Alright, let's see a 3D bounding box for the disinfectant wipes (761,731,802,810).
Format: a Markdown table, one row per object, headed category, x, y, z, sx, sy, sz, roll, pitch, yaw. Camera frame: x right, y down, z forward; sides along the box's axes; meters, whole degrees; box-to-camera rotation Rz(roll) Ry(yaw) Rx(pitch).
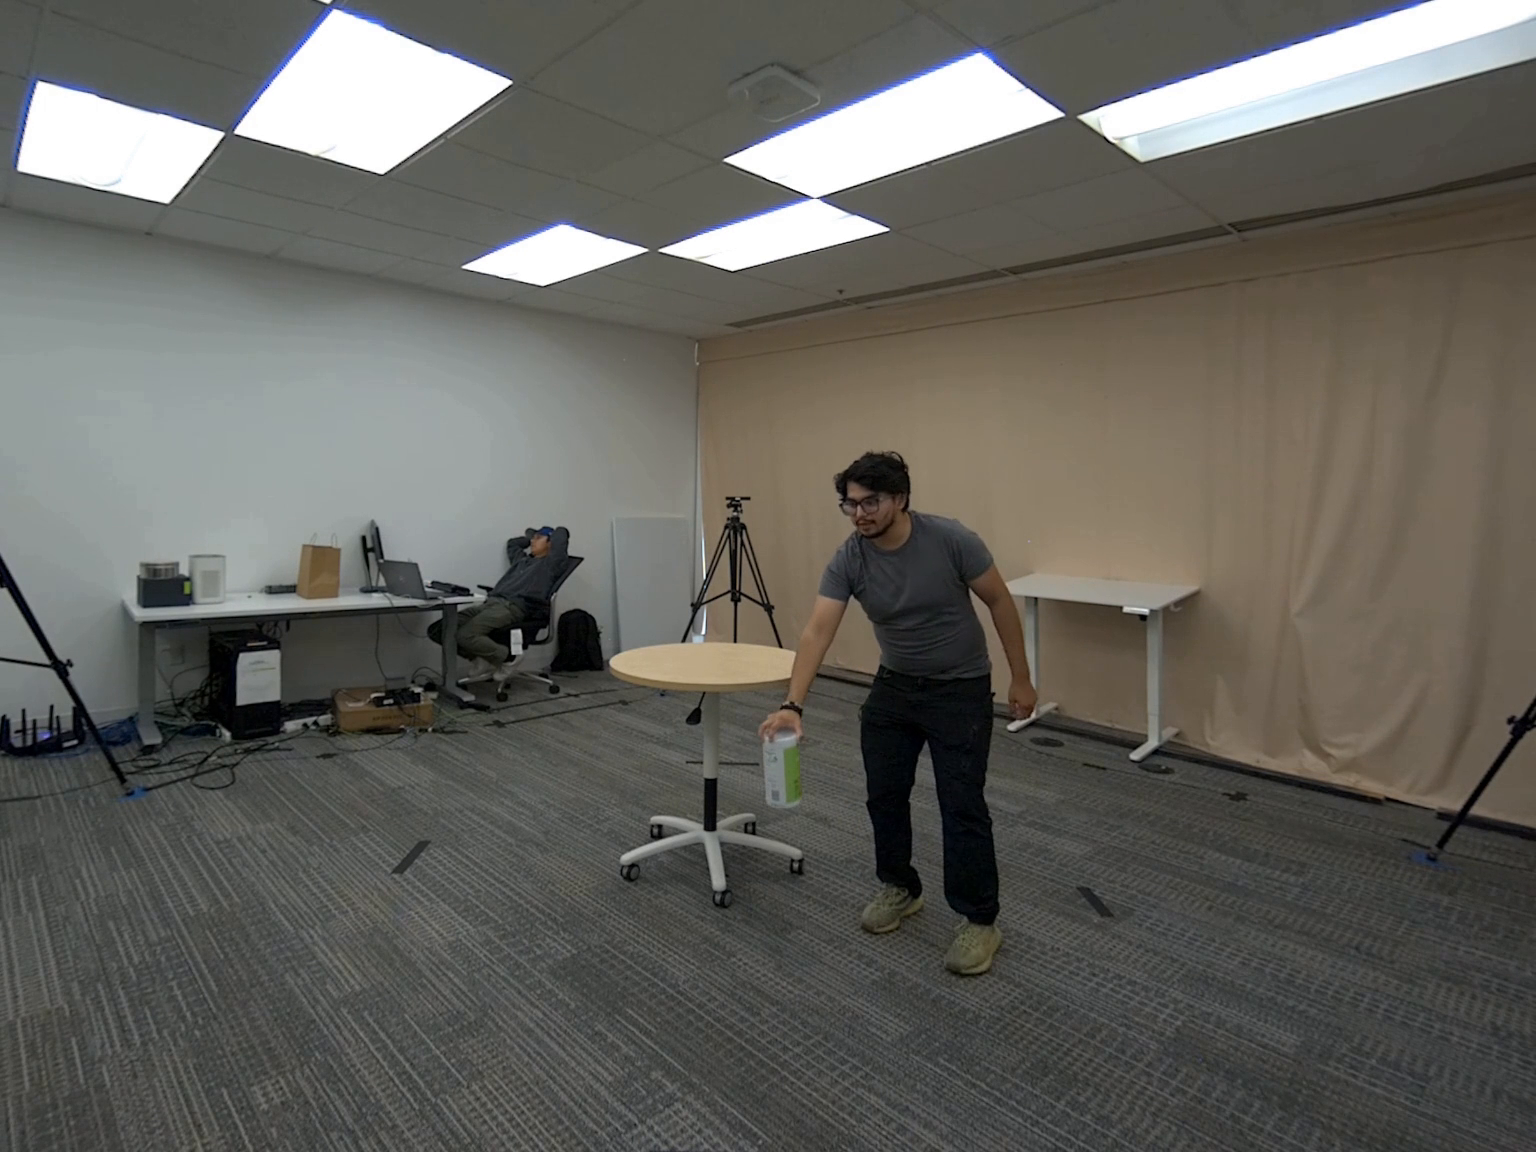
| category | x | y | z | sx | sy | sz | roll | pitch | yaw |
| --- | --- | --- | --- | --- | --- | --- | --- | --- | --- |
| disinfectant wipes | 0.030 | 0.569 | 2.466 | 0.118 | 0.216 | 0.118 | -2 | 9 | -1 |
